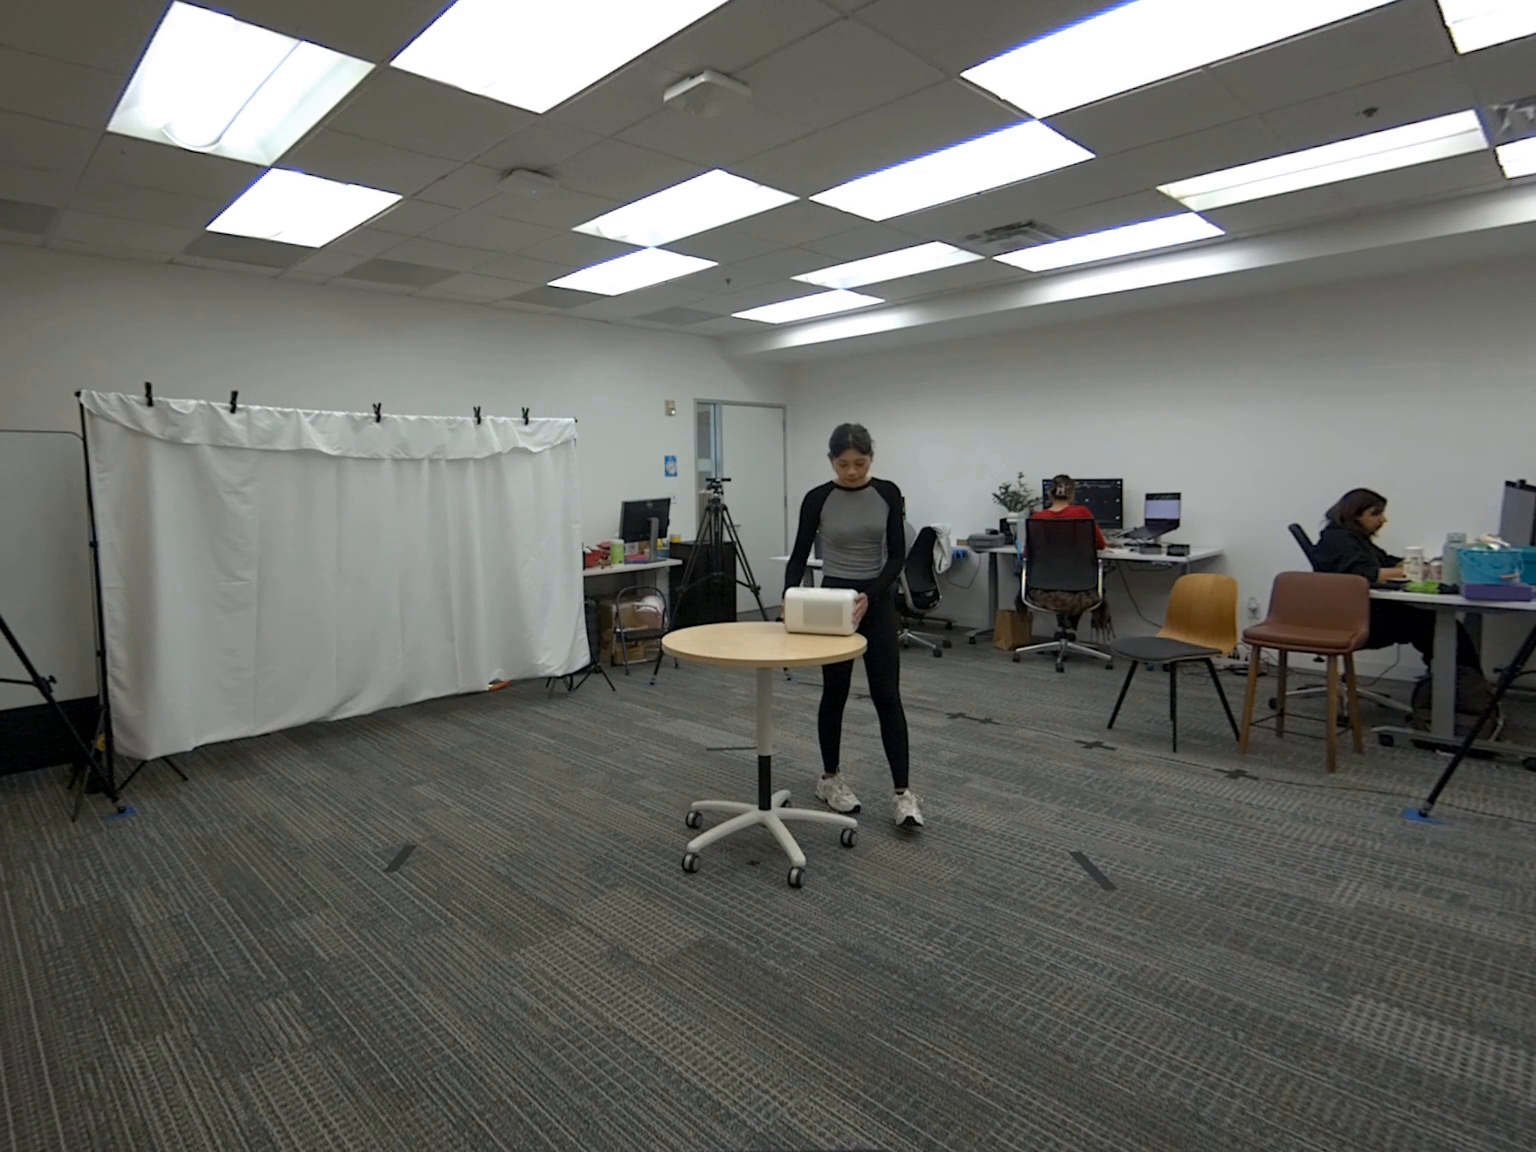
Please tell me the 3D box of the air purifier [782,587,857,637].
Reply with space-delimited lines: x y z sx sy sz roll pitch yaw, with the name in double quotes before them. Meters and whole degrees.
"air purifier" 0.212 0.135 3.329 0.270 0.171 0.168 2 4 19
